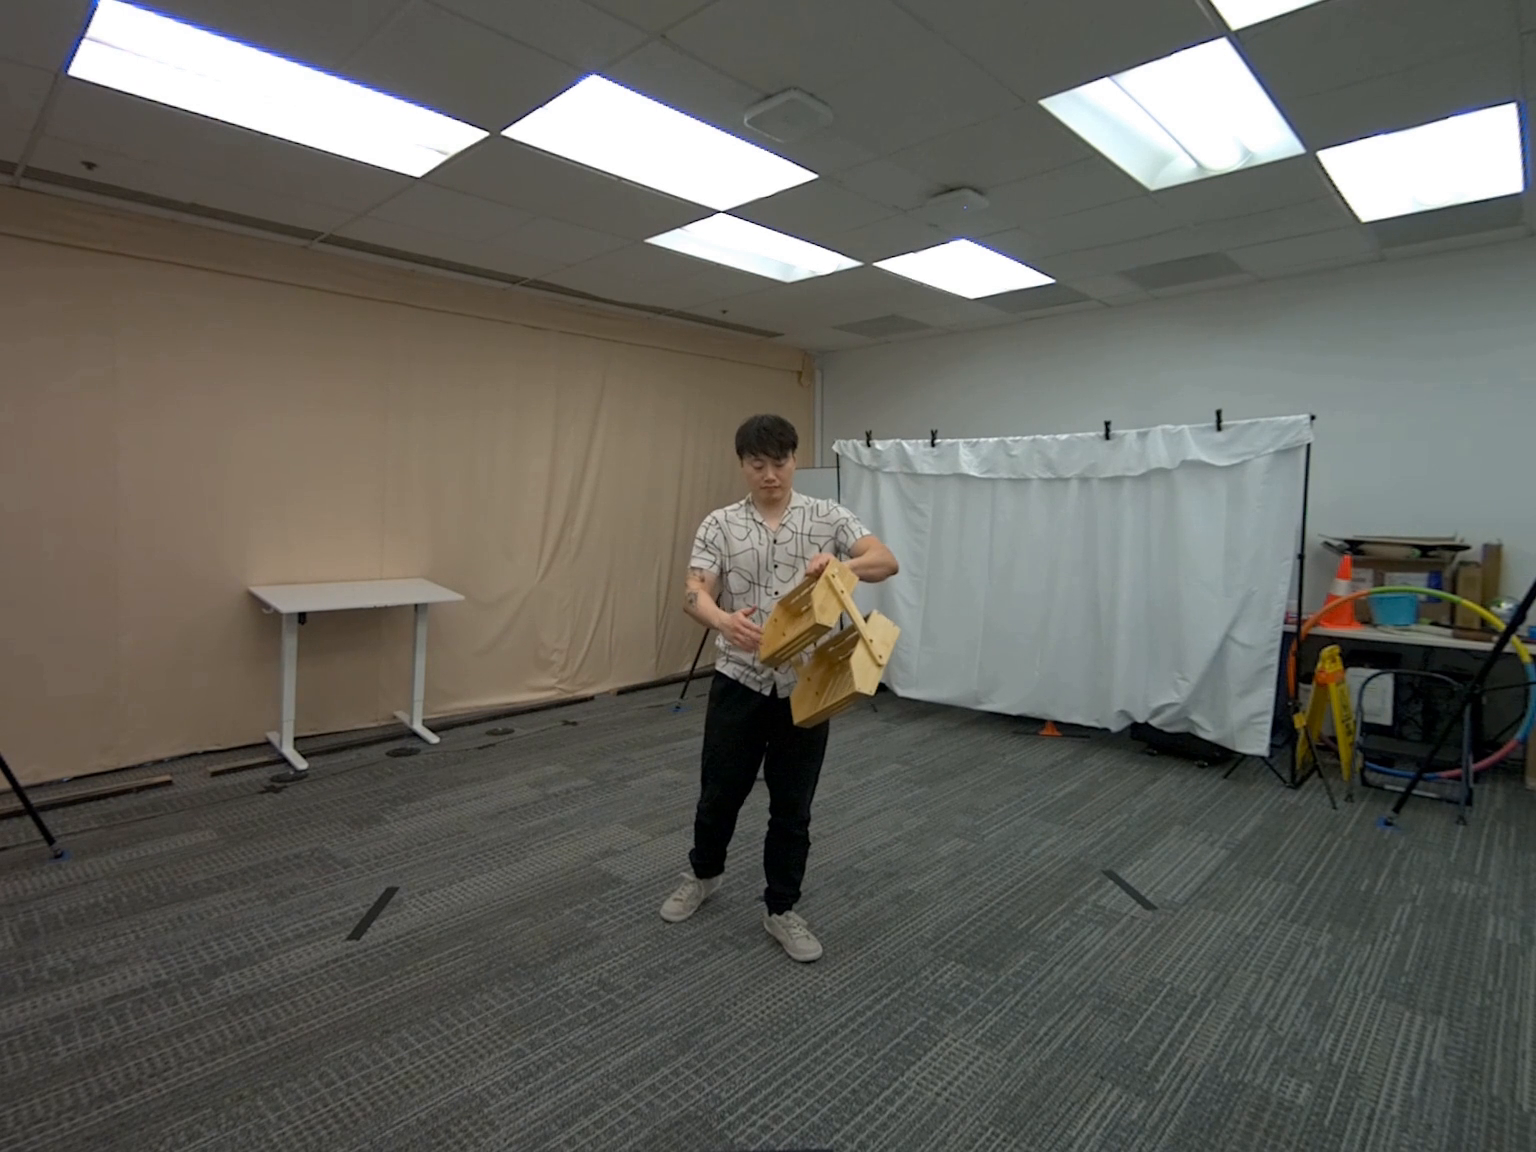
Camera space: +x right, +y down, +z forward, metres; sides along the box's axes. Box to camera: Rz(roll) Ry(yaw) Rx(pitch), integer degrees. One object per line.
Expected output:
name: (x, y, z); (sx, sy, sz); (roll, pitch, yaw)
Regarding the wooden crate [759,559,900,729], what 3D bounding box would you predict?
wooden crate: (0.126, 0.193, 2.282); (0.328, 0.271, 0.301); (-42, 12, 51)
